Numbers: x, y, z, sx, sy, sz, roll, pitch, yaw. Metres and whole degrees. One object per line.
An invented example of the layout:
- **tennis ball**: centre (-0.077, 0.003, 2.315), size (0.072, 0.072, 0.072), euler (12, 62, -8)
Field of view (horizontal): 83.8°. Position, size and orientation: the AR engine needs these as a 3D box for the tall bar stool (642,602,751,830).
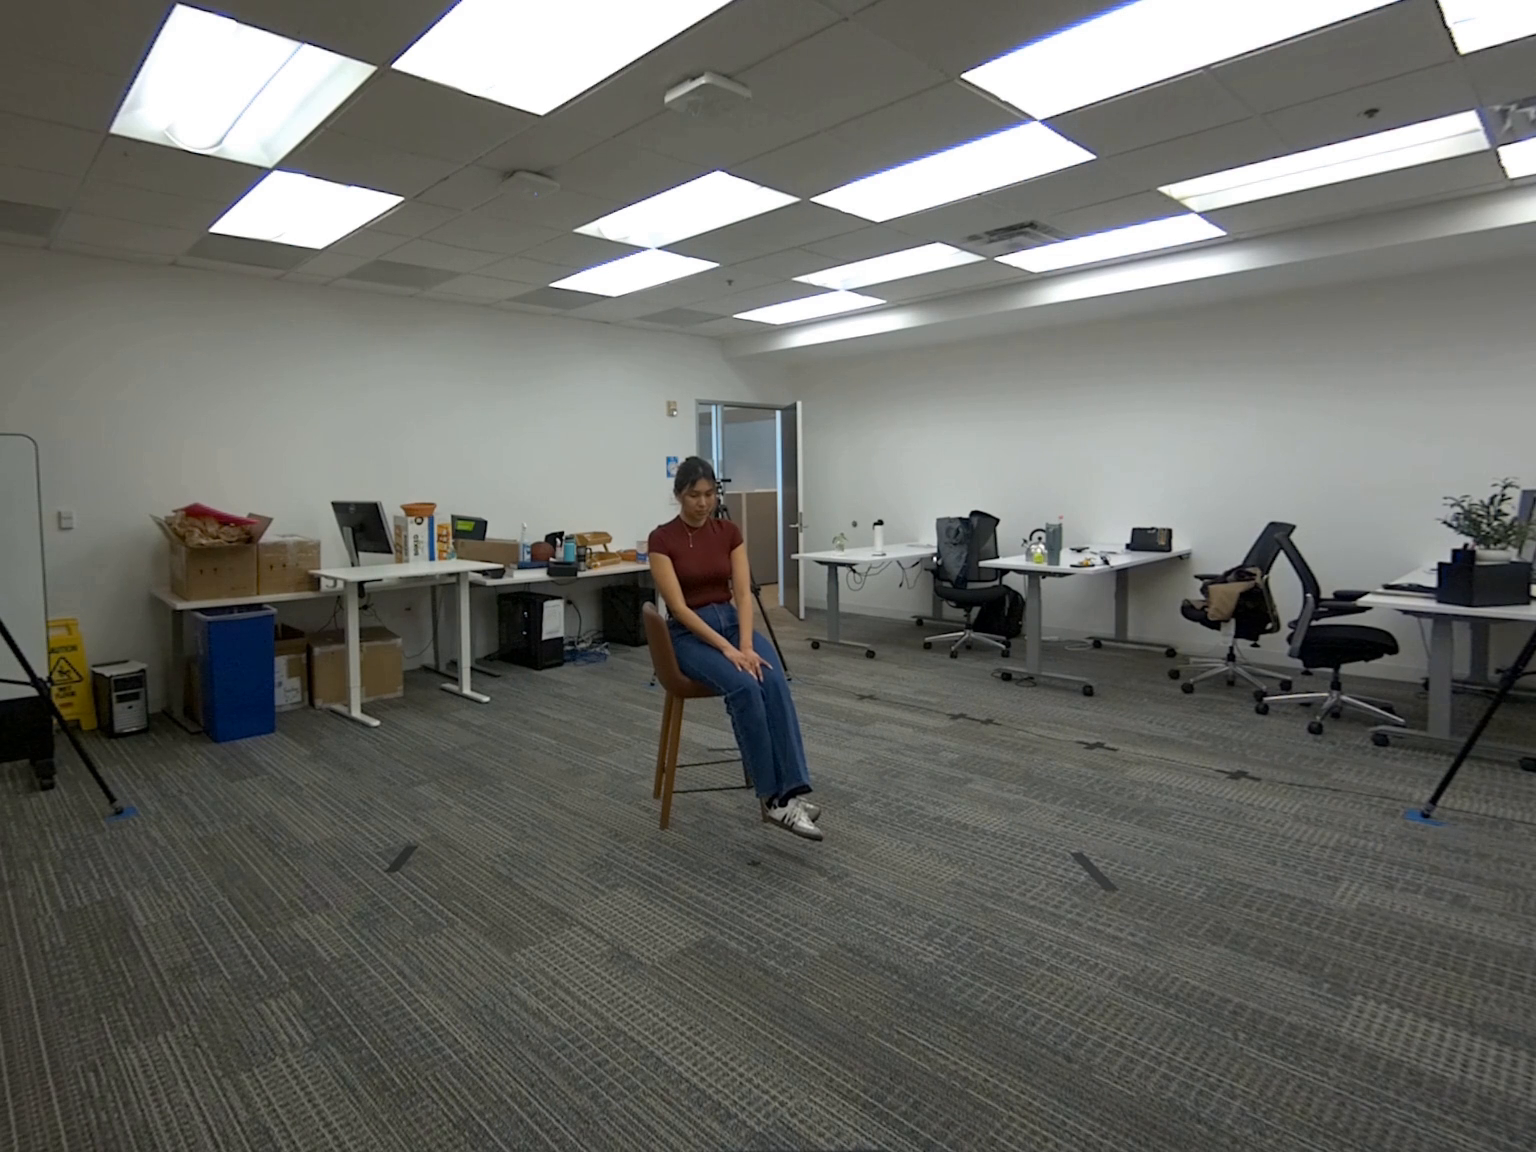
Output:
- **tall bar stool**: centre (-0.270, 0.559, 3.623), size (0.463, 0.887, 0.463), euler (-3, 4, -12)
